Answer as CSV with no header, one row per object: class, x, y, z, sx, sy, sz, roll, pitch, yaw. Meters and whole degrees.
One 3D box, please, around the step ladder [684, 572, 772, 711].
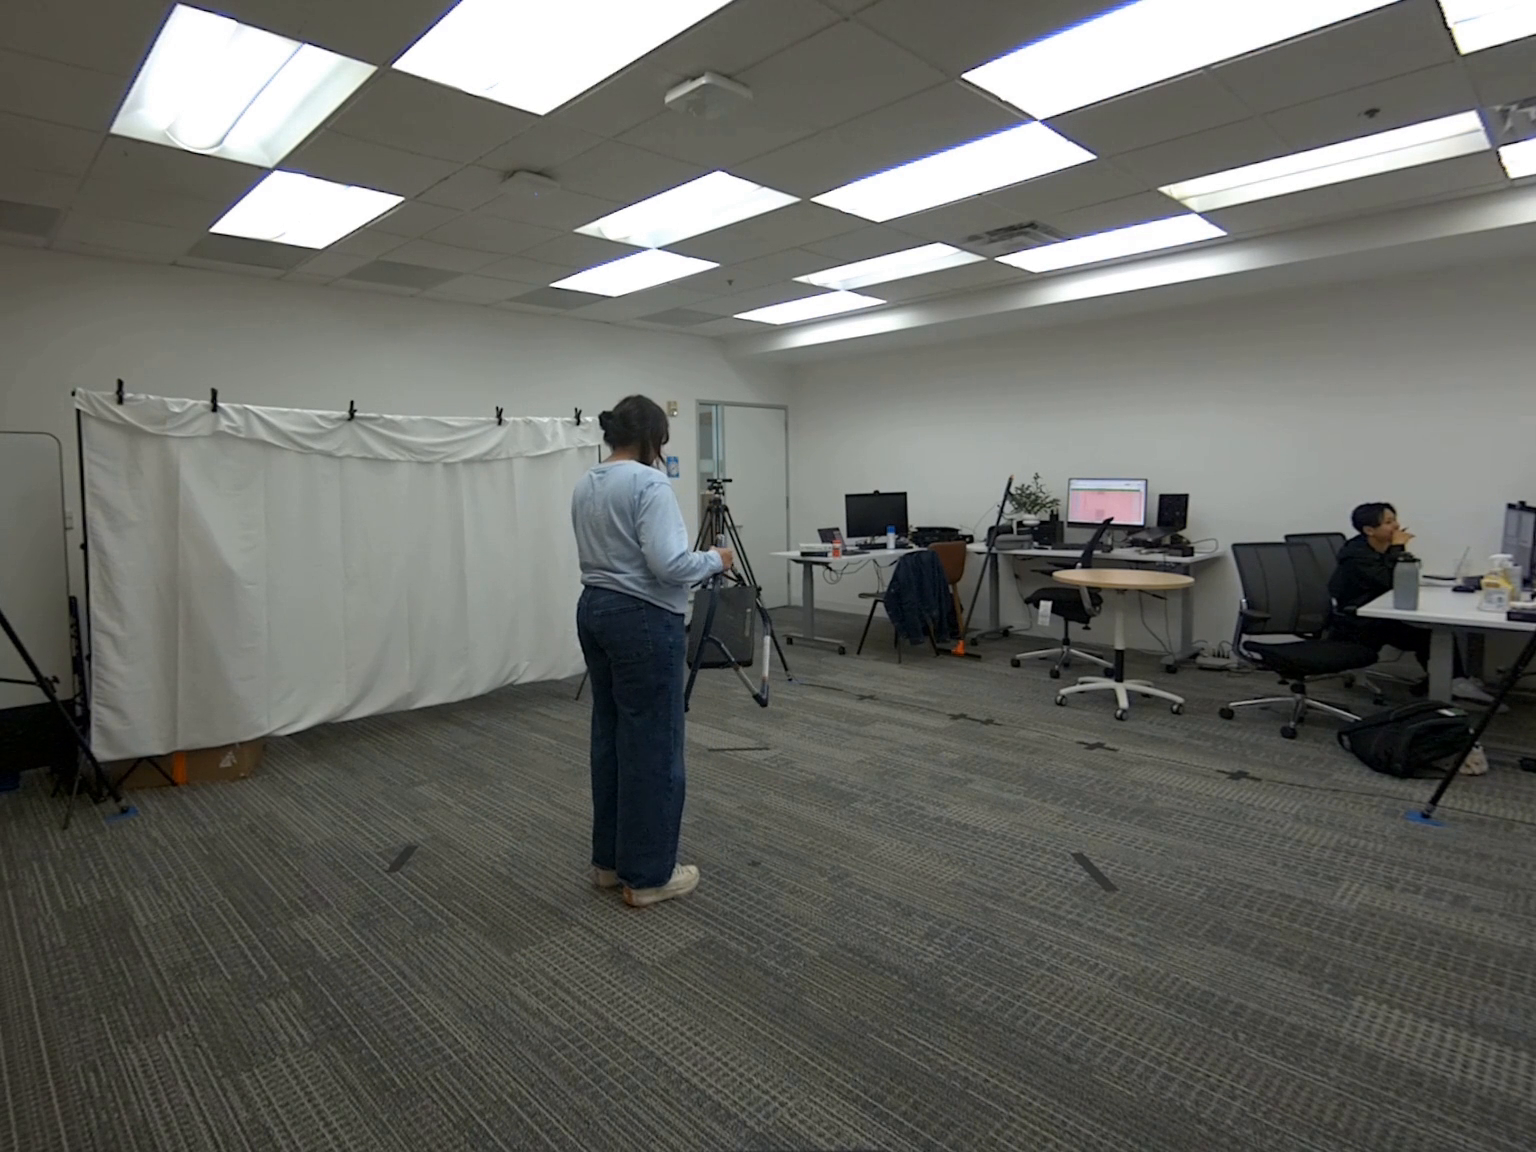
step ladder,-0.202,0.152,3.138,0.351,0.586,0.442,-4,46,6
